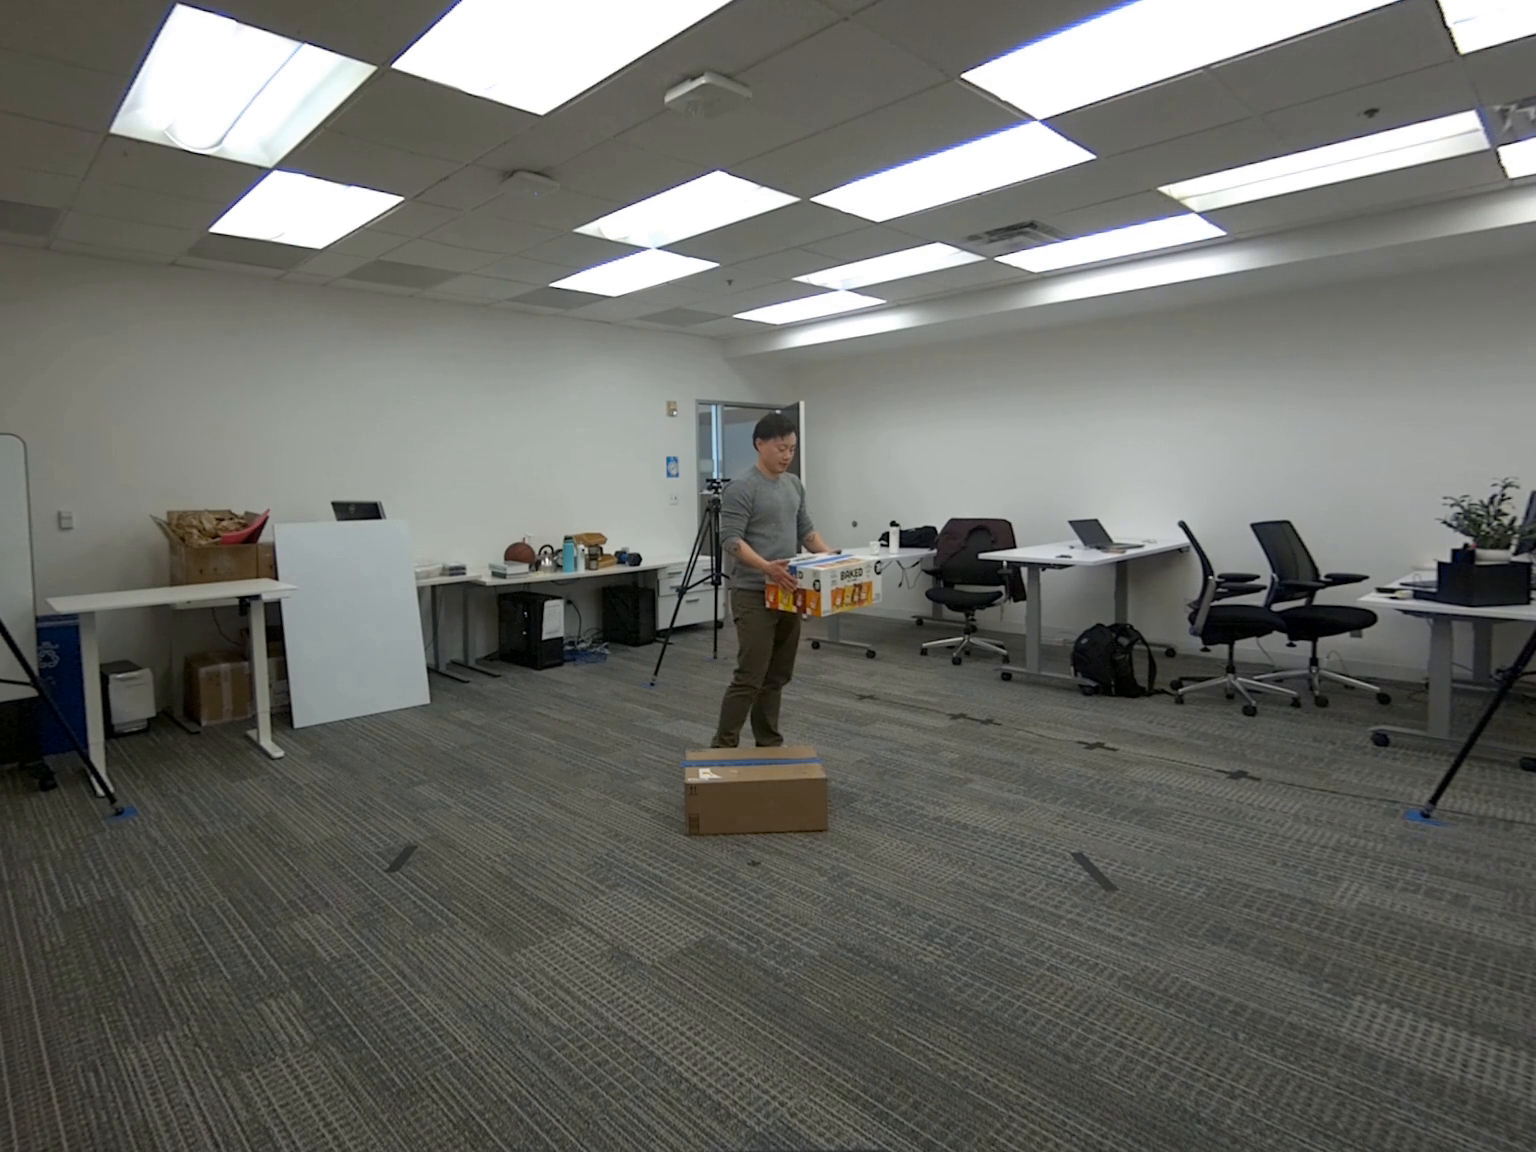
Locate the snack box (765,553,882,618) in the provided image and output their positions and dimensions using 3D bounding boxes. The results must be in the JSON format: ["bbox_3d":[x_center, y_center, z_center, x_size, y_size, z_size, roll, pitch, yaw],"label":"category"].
[{"bbox_3d":[0.244,0.032,3.823,0.395,0.204,0.351,-10,12,-41],"label":"snack box"}]
